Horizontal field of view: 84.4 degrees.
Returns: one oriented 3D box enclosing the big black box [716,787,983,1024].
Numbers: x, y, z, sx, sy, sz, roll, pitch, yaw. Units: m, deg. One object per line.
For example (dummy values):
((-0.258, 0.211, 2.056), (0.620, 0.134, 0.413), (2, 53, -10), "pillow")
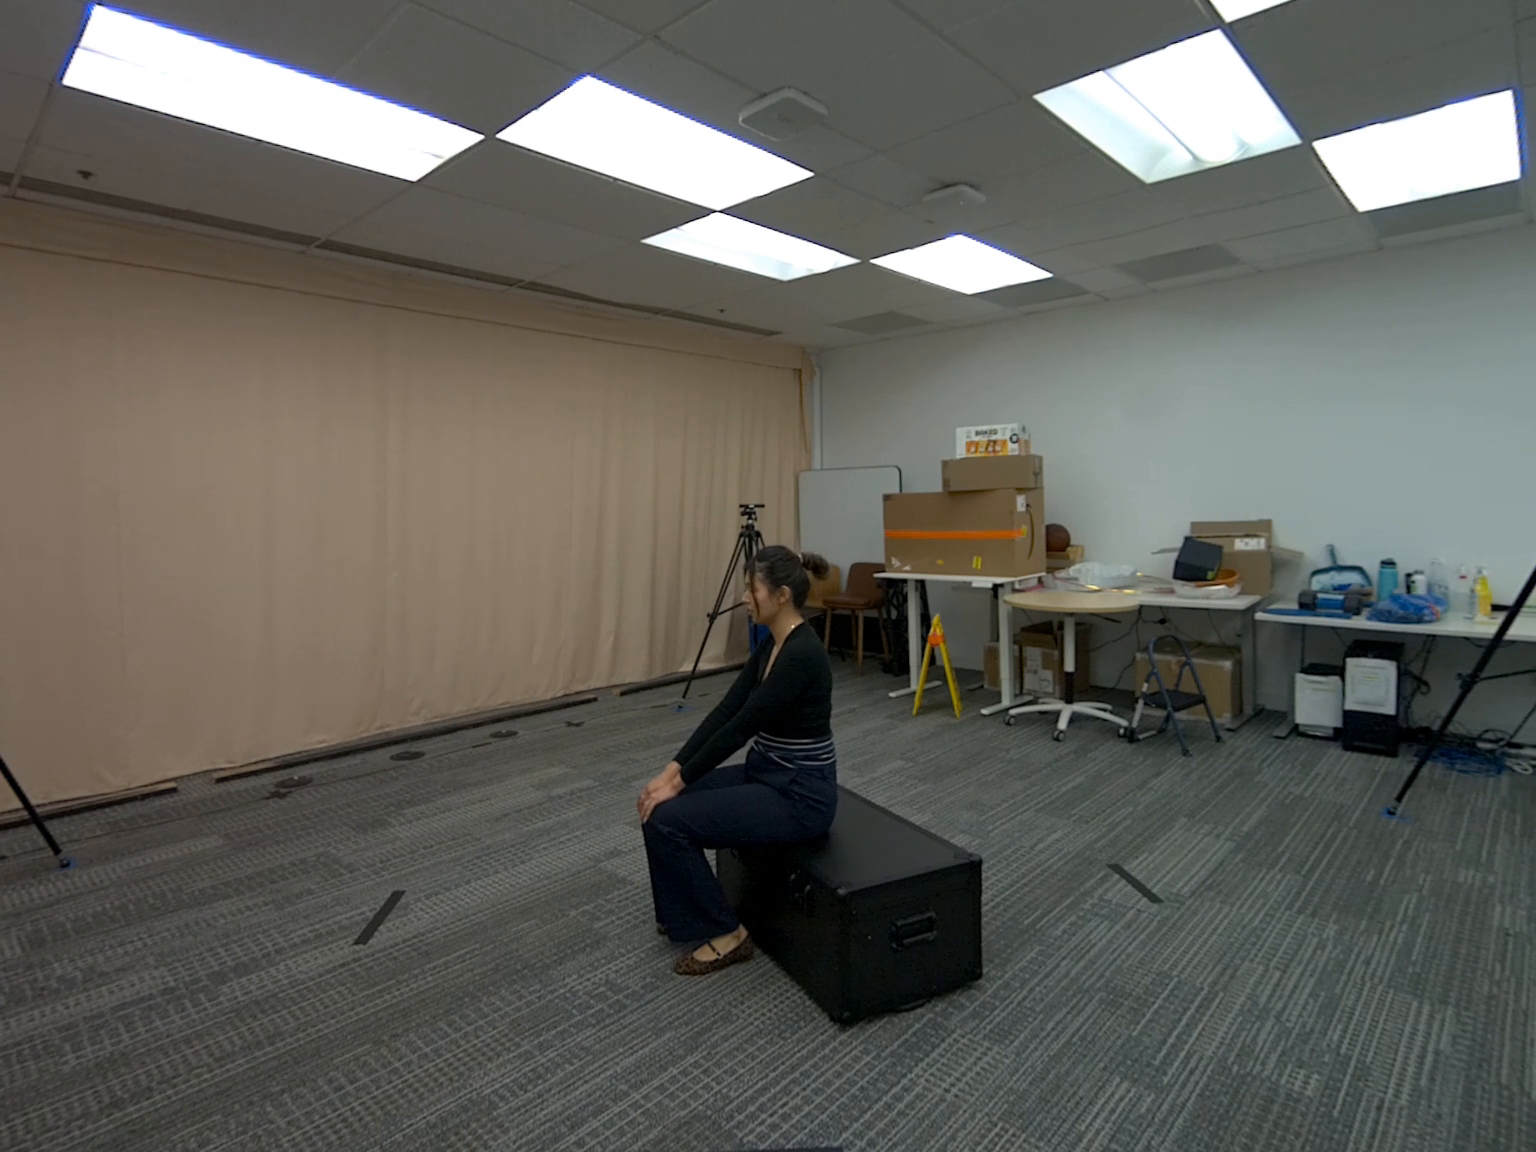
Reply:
((0.233, 0.977, 2.622), (0.508, 0.395, 0.885), (-3, 5, -28), "big black box")
